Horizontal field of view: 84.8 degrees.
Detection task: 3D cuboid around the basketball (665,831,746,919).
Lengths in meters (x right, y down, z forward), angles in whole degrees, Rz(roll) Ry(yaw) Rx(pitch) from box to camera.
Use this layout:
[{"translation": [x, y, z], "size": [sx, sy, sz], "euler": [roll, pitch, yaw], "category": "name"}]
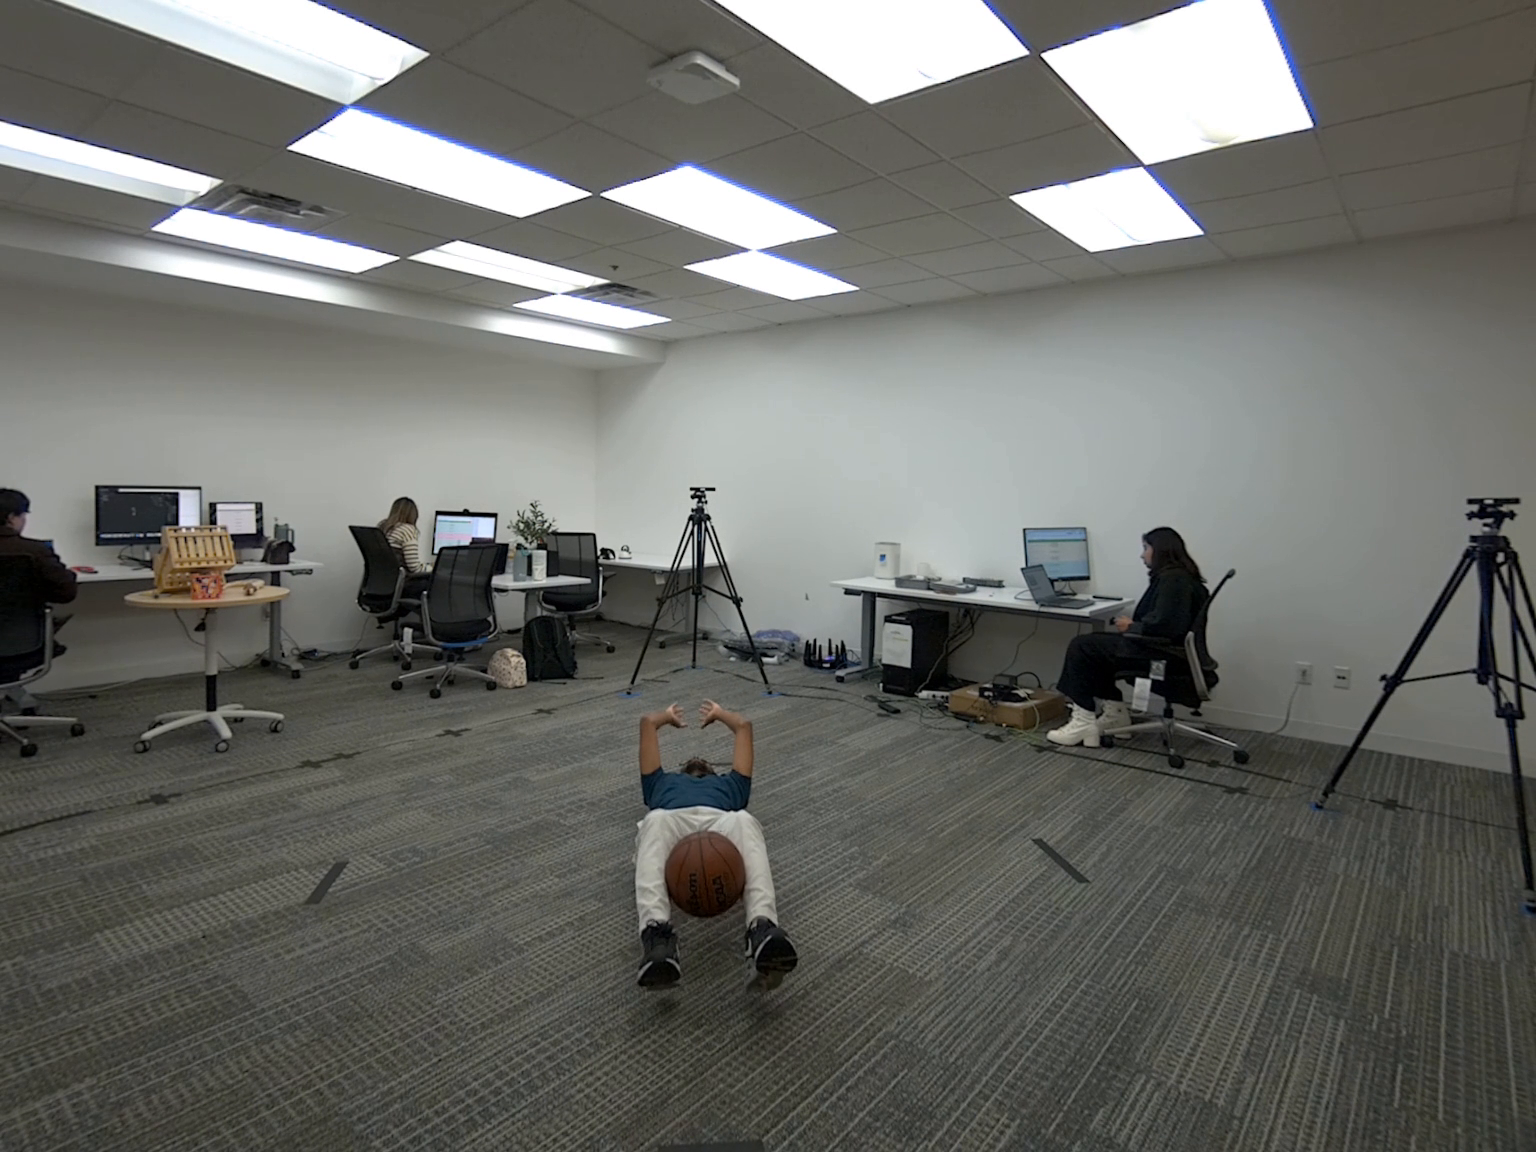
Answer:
[{"translation": [-0.191, 0.865, 2.508], "size": [0.235, 0.235, 0.237], "euler": [1, 4, -2], "category": "basketball"}]
